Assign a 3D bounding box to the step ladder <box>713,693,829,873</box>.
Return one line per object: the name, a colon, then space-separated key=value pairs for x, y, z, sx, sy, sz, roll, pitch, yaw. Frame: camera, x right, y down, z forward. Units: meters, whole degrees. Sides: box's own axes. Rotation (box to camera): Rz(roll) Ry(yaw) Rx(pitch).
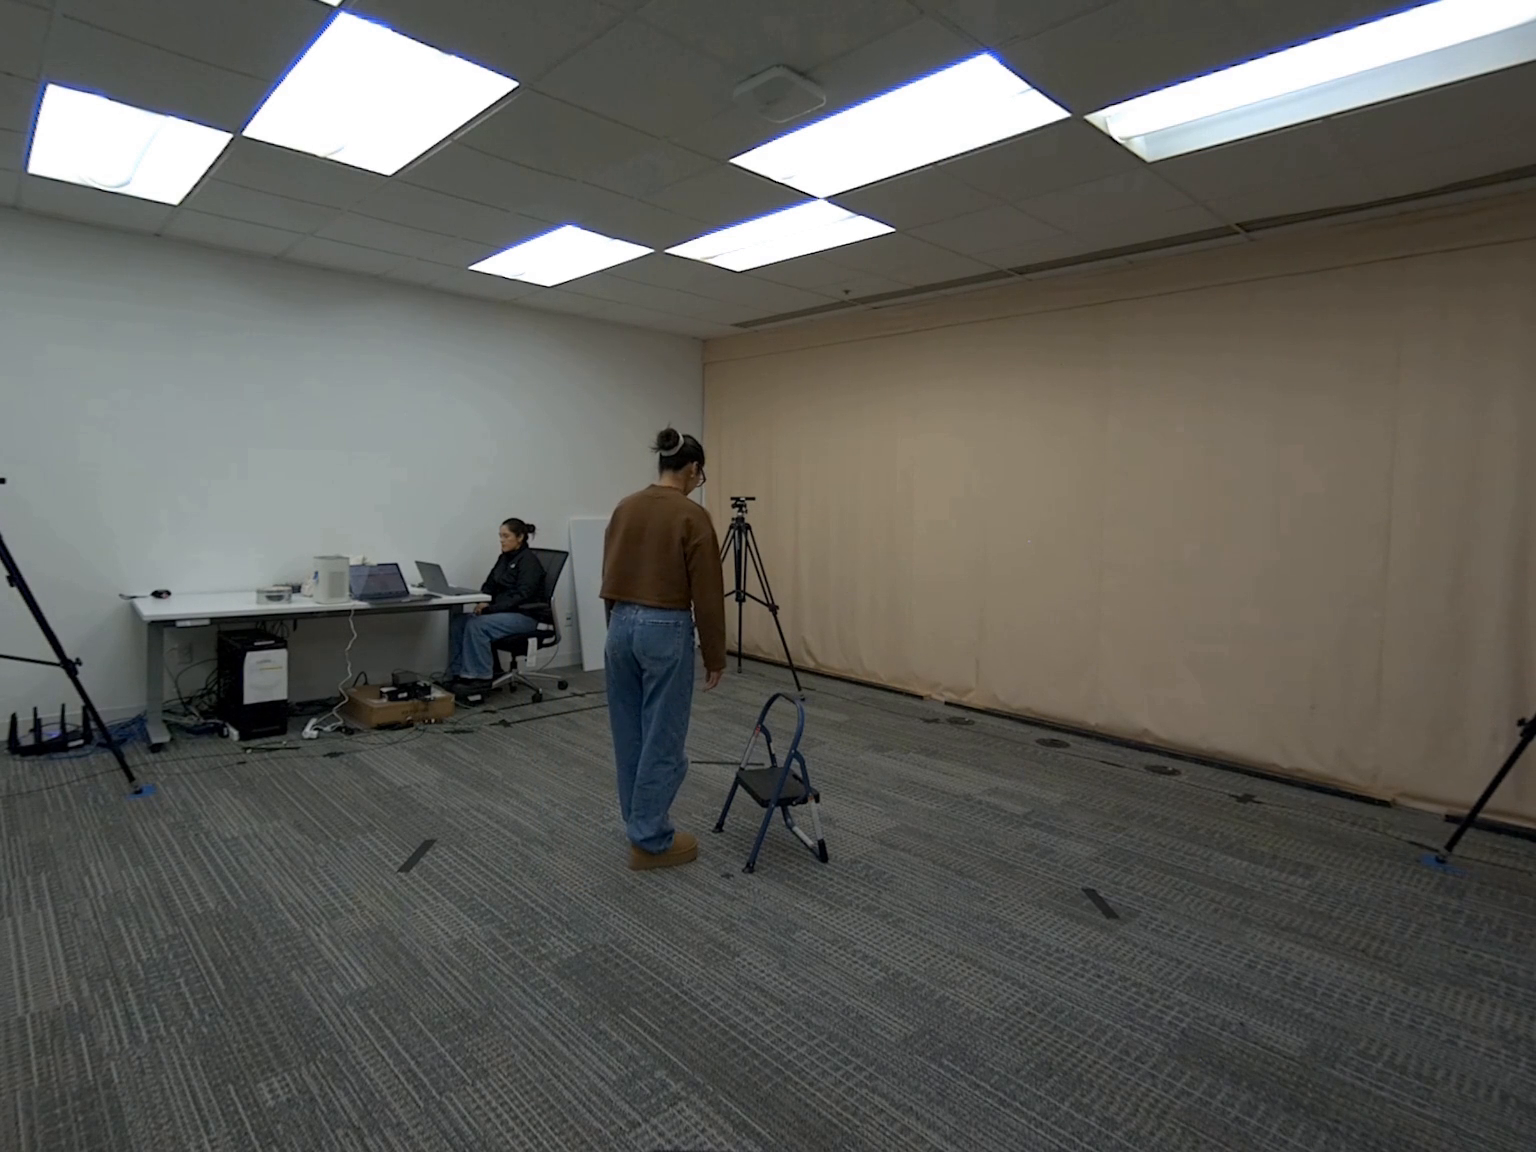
step ladder: x=-0.002 y=0.785 z=3.366 sx=0.344 sy=0.604 sz=0.438 roll=0 pitch=4 yaw=-19
